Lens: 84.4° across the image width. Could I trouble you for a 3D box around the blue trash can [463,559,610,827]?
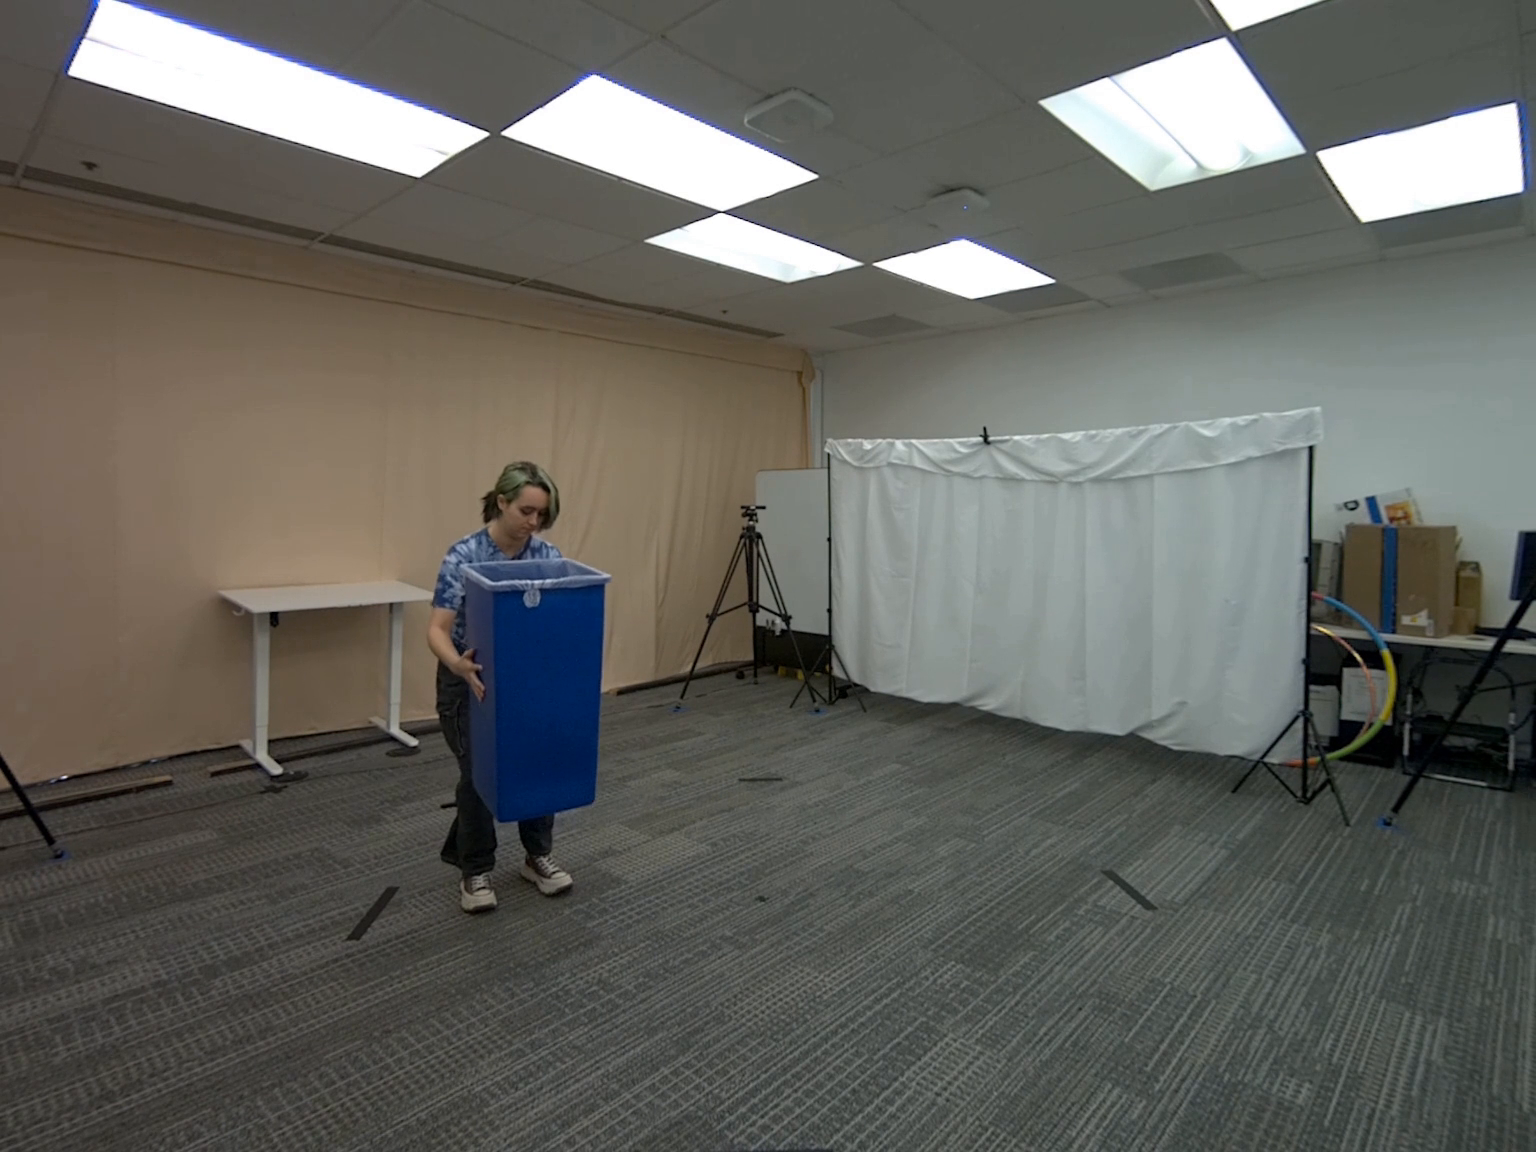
[{"bbox_3d":[-0.724,0.336,2.575,0.367,0.710,0.386,-2,10,-33],"label":"blue trash can"}]
